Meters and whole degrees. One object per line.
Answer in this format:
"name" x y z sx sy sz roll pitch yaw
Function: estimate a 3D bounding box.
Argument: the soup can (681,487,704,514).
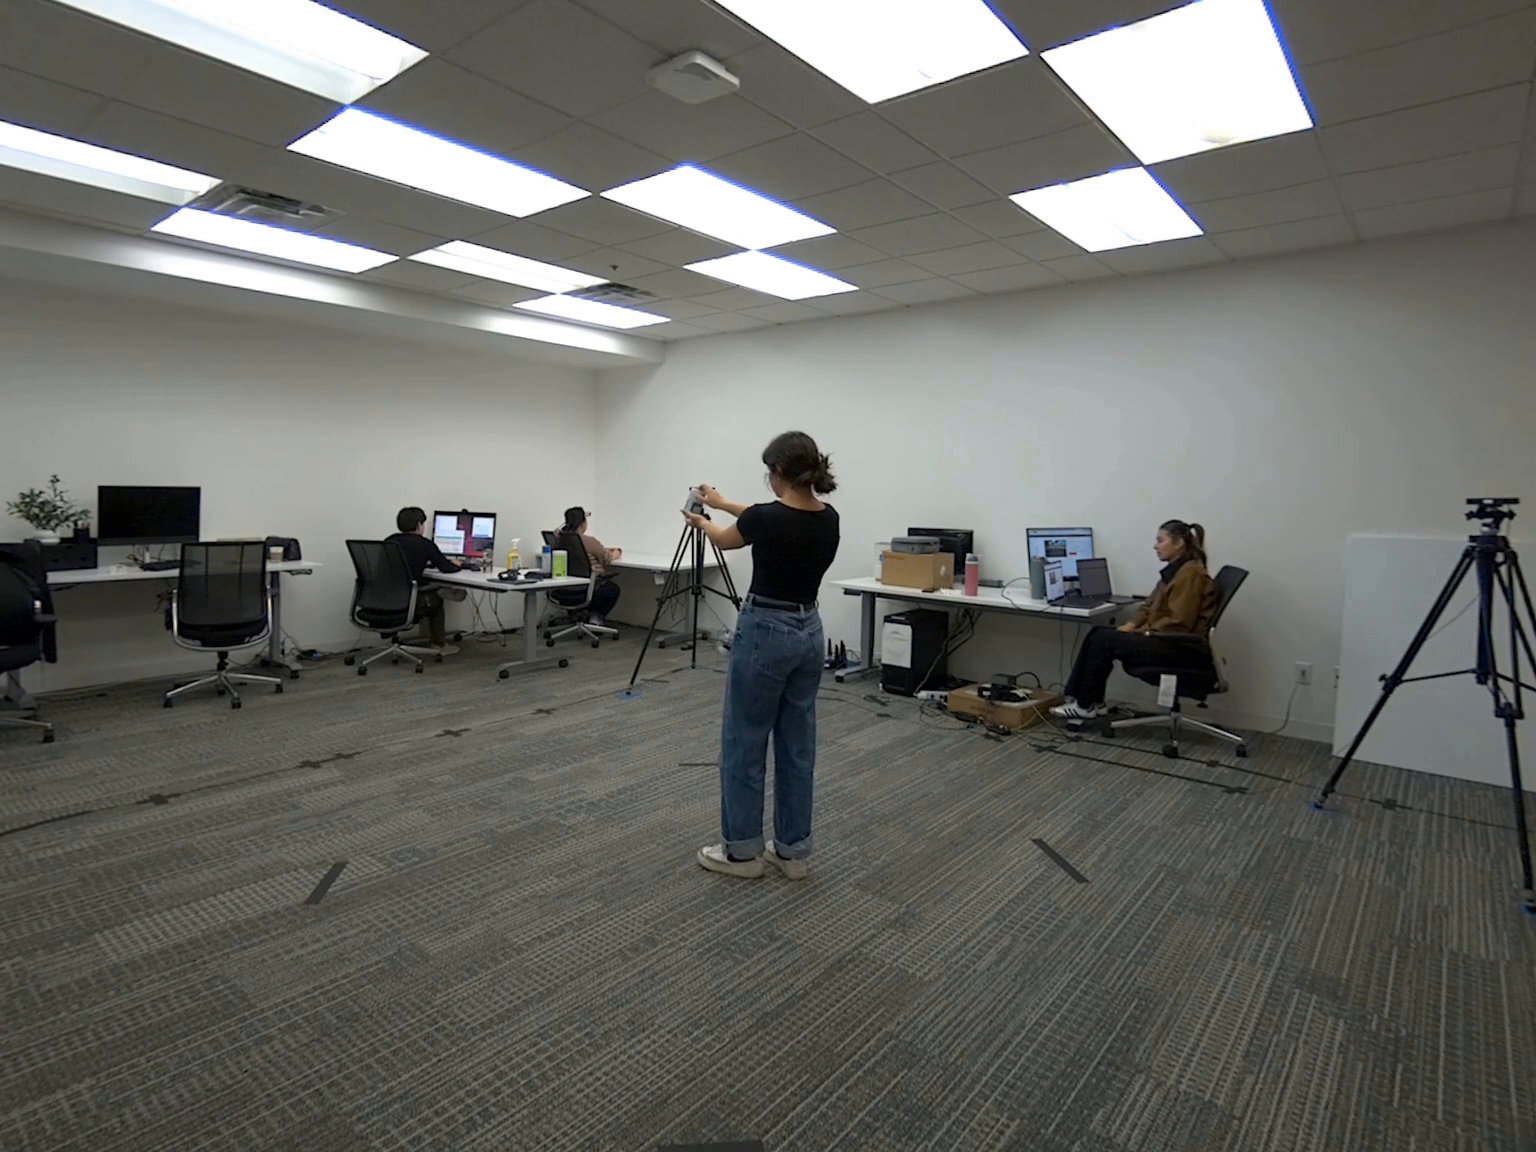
"soup can" -0.311 -0.302 3.503 0.067 0.121 0.067 14 3 -3
